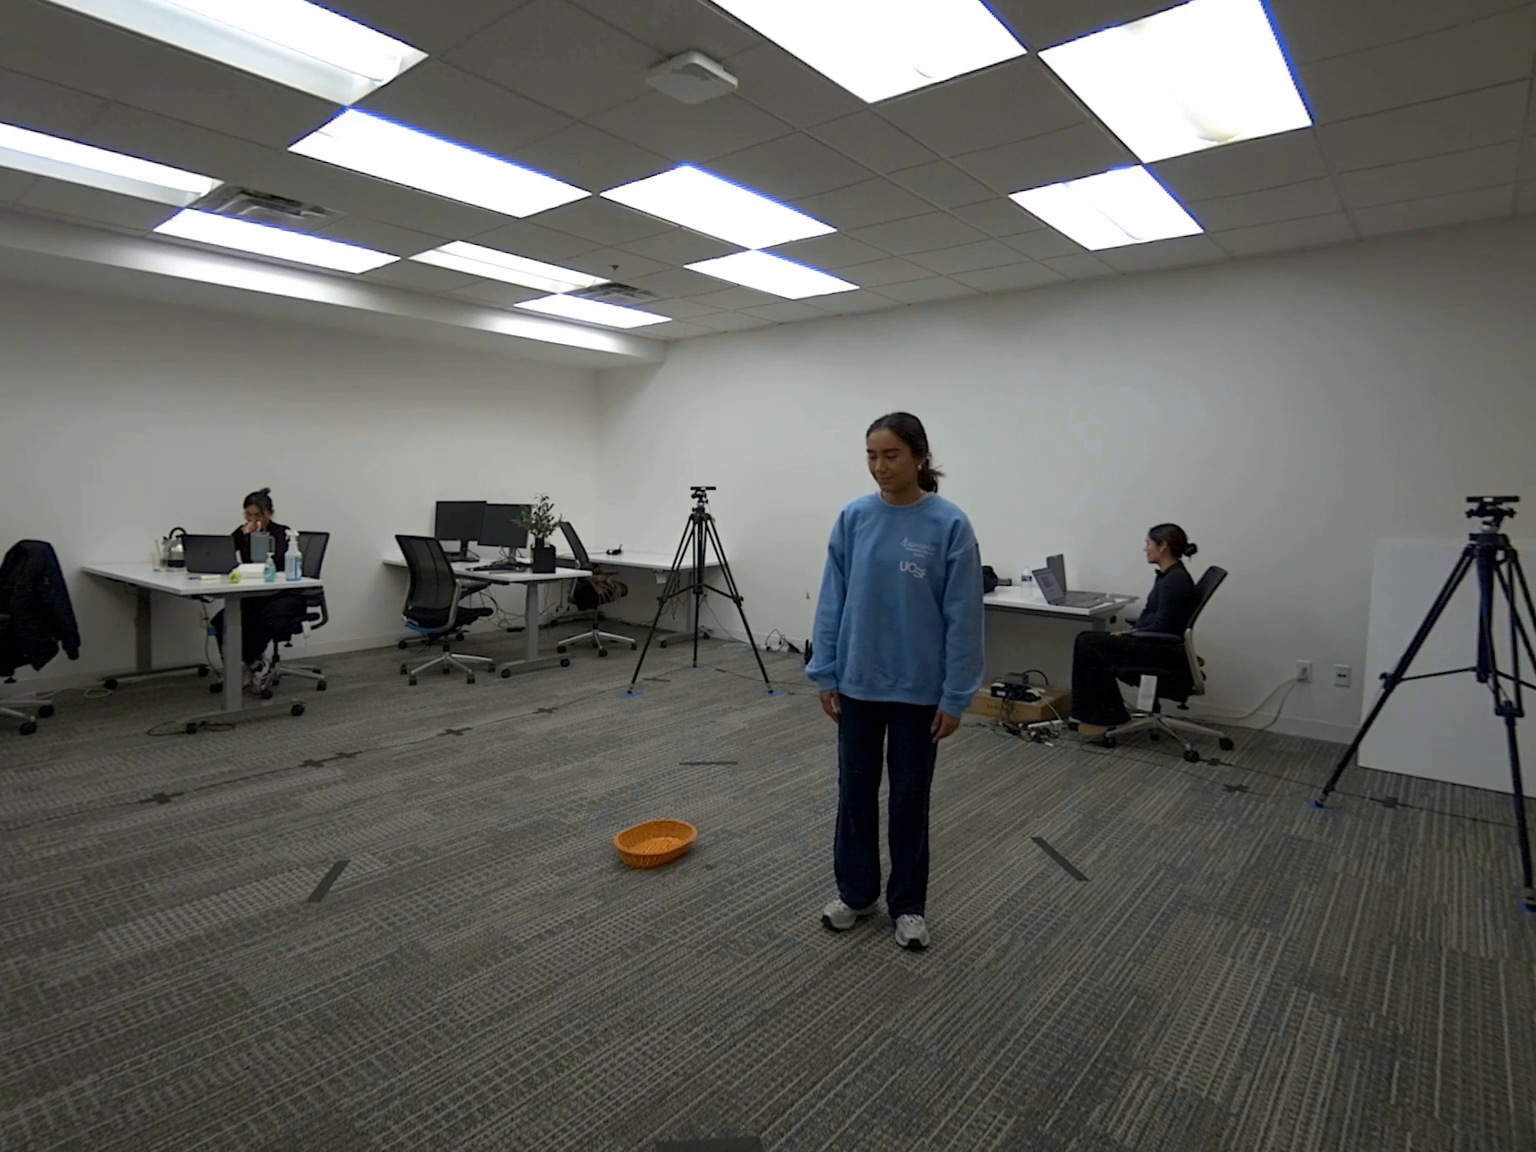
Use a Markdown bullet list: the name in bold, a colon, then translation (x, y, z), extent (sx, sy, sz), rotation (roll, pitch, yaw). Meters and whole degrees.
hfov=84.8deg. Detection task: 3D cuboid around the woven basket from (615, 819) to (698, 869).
- **woven basket**: translation (-0.432, 1.011, 3.218), extent (0.261, 0.073, 0.340), rotation (6, 7, 37)
